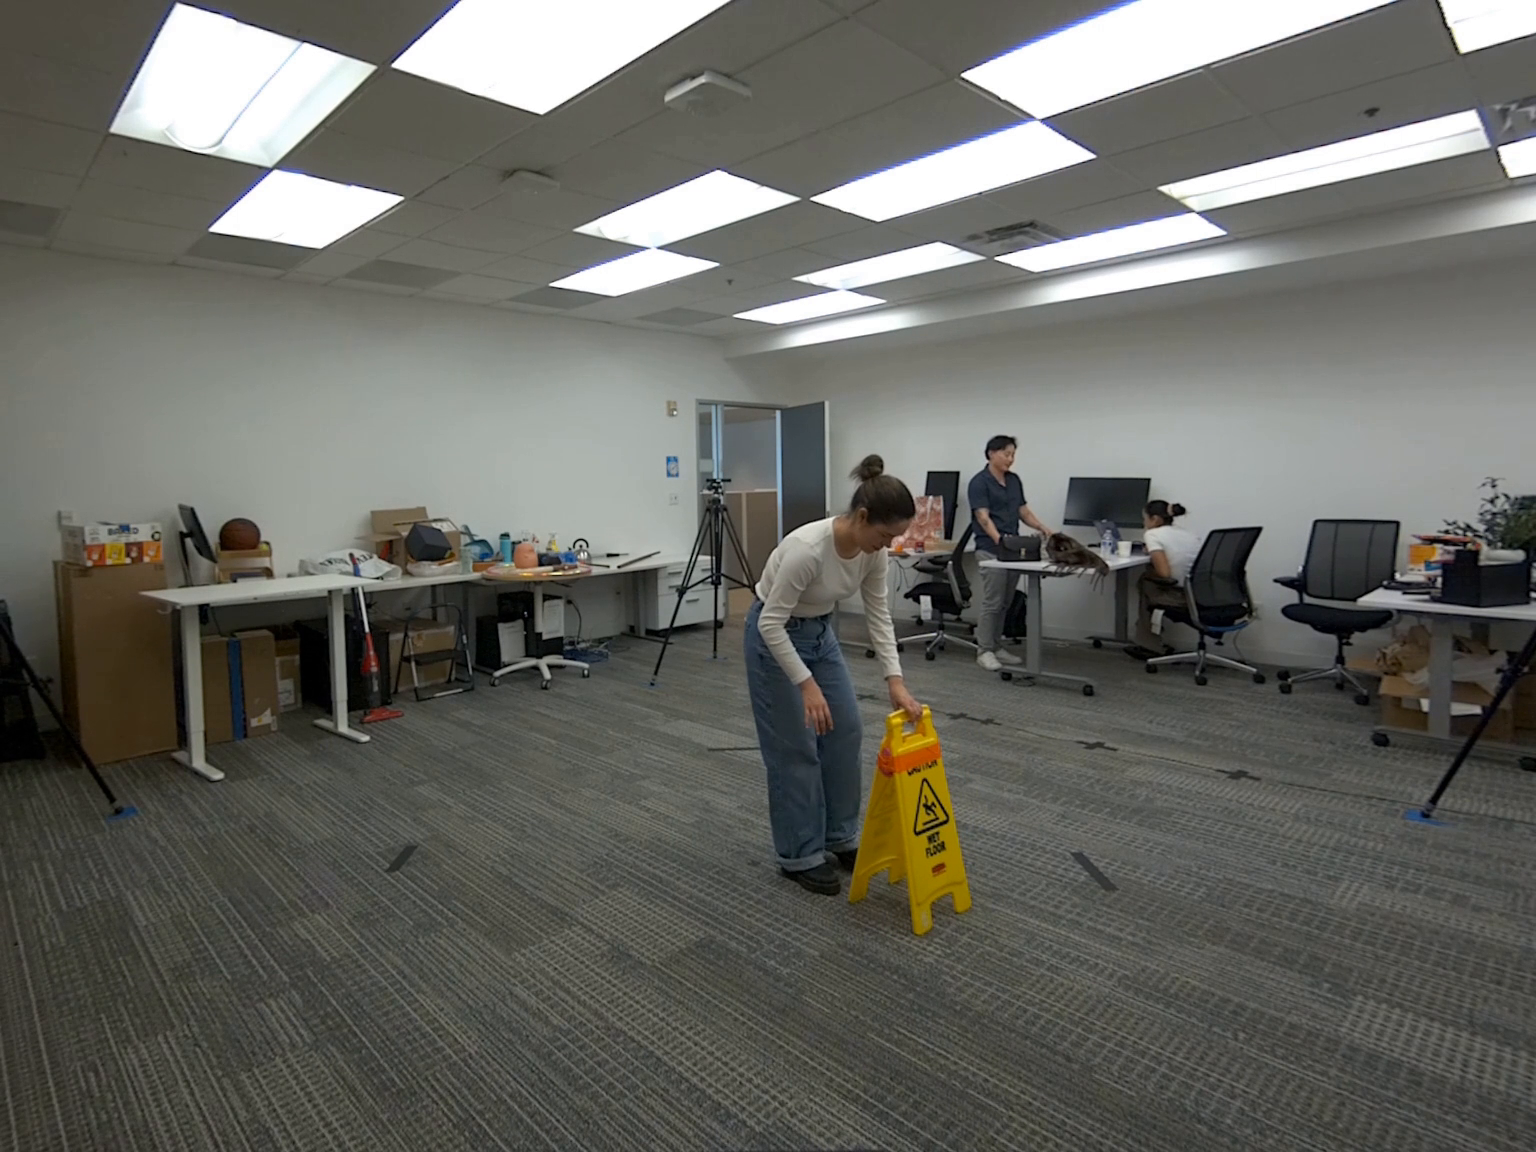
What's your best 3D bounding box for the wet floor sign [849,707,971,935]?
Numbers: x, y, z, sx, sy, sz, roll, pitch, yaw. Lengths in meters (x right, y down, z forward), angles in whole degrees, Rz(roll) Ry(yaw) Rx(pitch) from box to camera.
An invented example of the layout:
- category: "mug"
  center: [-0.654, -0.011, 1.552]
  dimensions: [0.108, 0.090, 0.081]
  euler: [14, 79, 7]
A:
- category: "wet floor sign"
  center: [0.457, 0.751, 2.766]
  dimensions: [0.274, 0.644, 0.298]
  euler: [-3, 4, -41]
